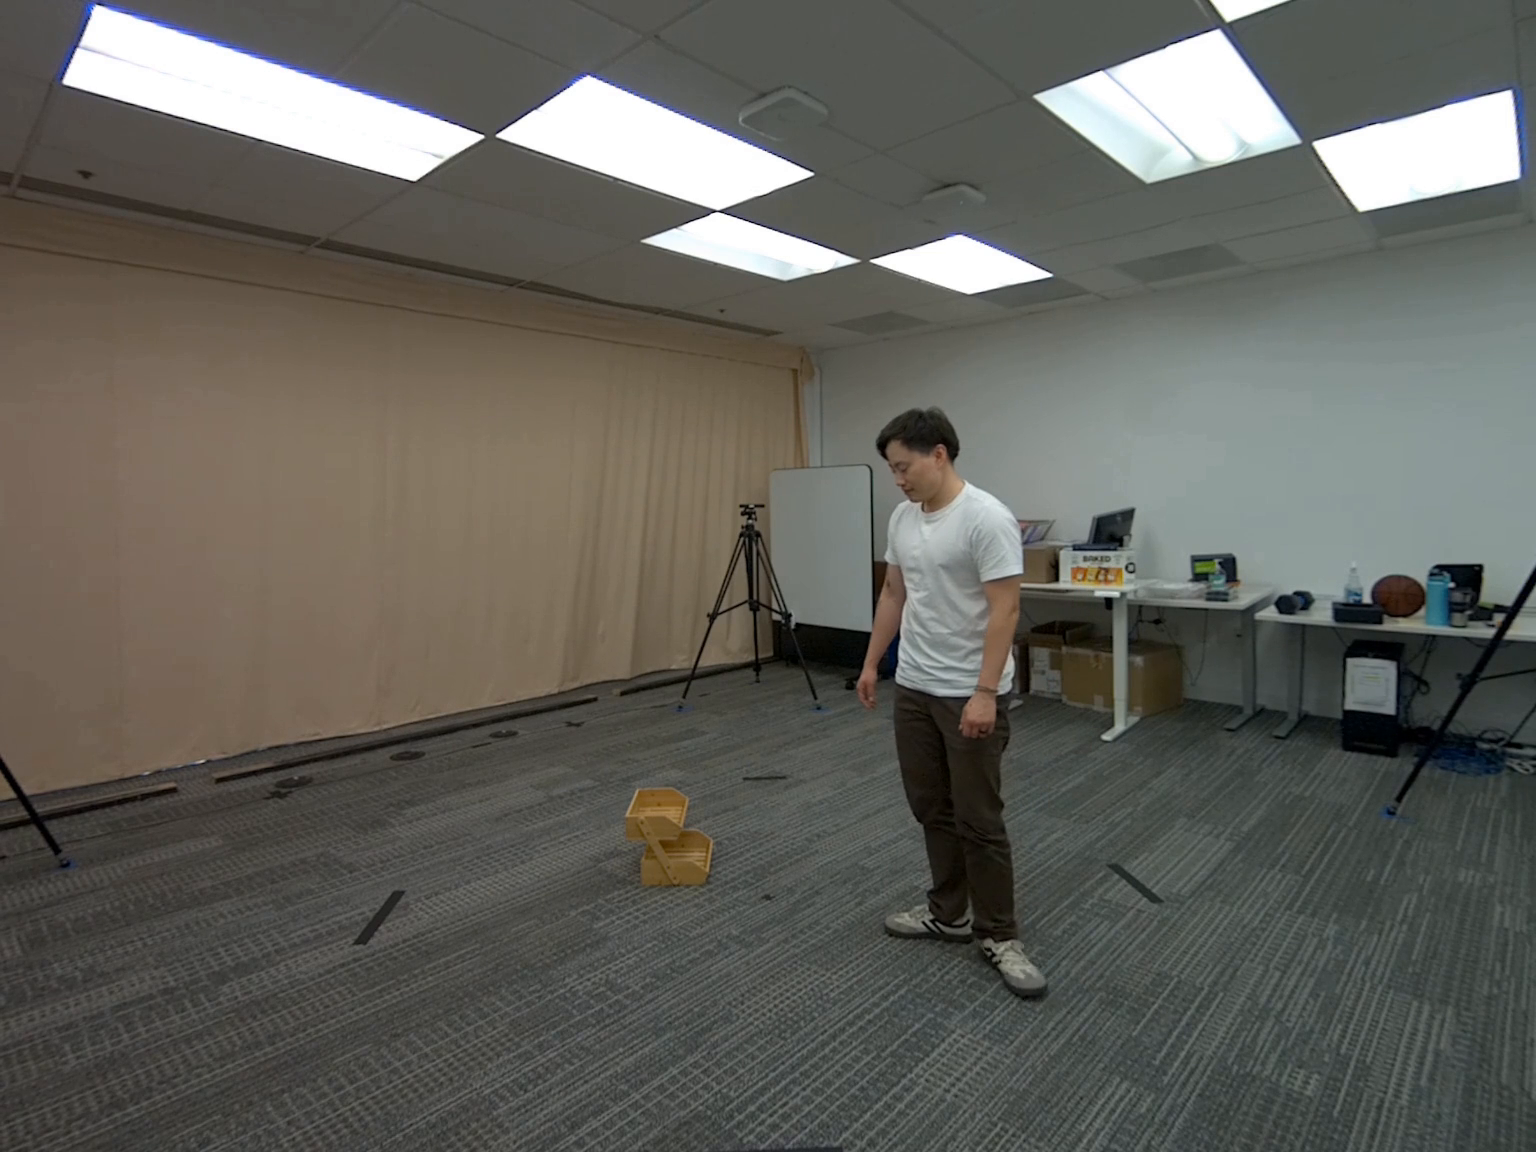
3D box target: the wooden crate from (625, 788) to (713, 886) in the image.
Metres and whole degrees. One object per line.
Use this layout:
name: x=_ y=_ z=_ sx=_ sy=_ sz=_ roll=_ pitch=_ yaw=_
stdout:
wooden crate: x=-0.370 y=0.991 z=3.239 sx=0.303 sy=0.273 sz=0.324 roll=-1 pitch=4 yaw=1
